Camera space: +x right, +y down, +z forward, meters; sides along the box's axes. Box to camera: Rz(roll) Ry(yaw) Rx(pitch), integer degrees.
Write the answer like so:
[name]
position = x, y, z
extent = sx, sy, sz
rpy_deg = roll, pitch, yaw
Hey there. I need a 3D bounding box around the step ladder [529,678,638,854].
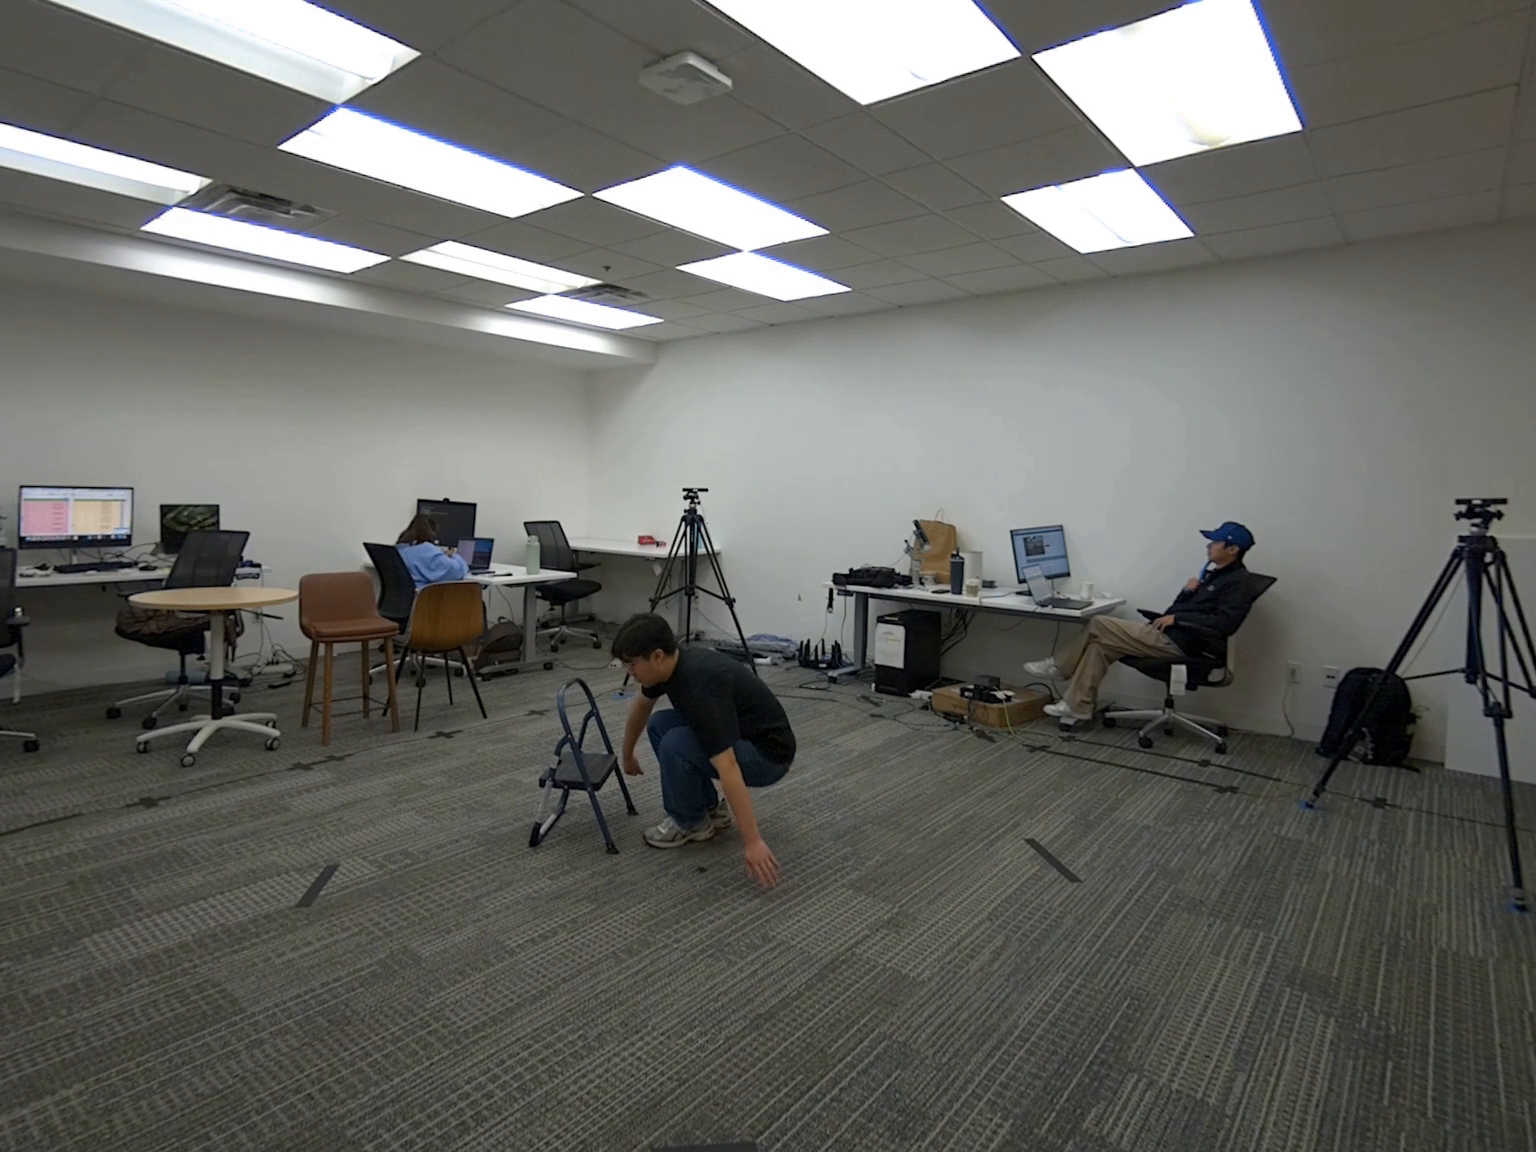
[step ladder]
position = -0.747, 0.729, 3.444
extent = 0.351, 0.604, 0.430
rpy_deg = 2, 3, 3
